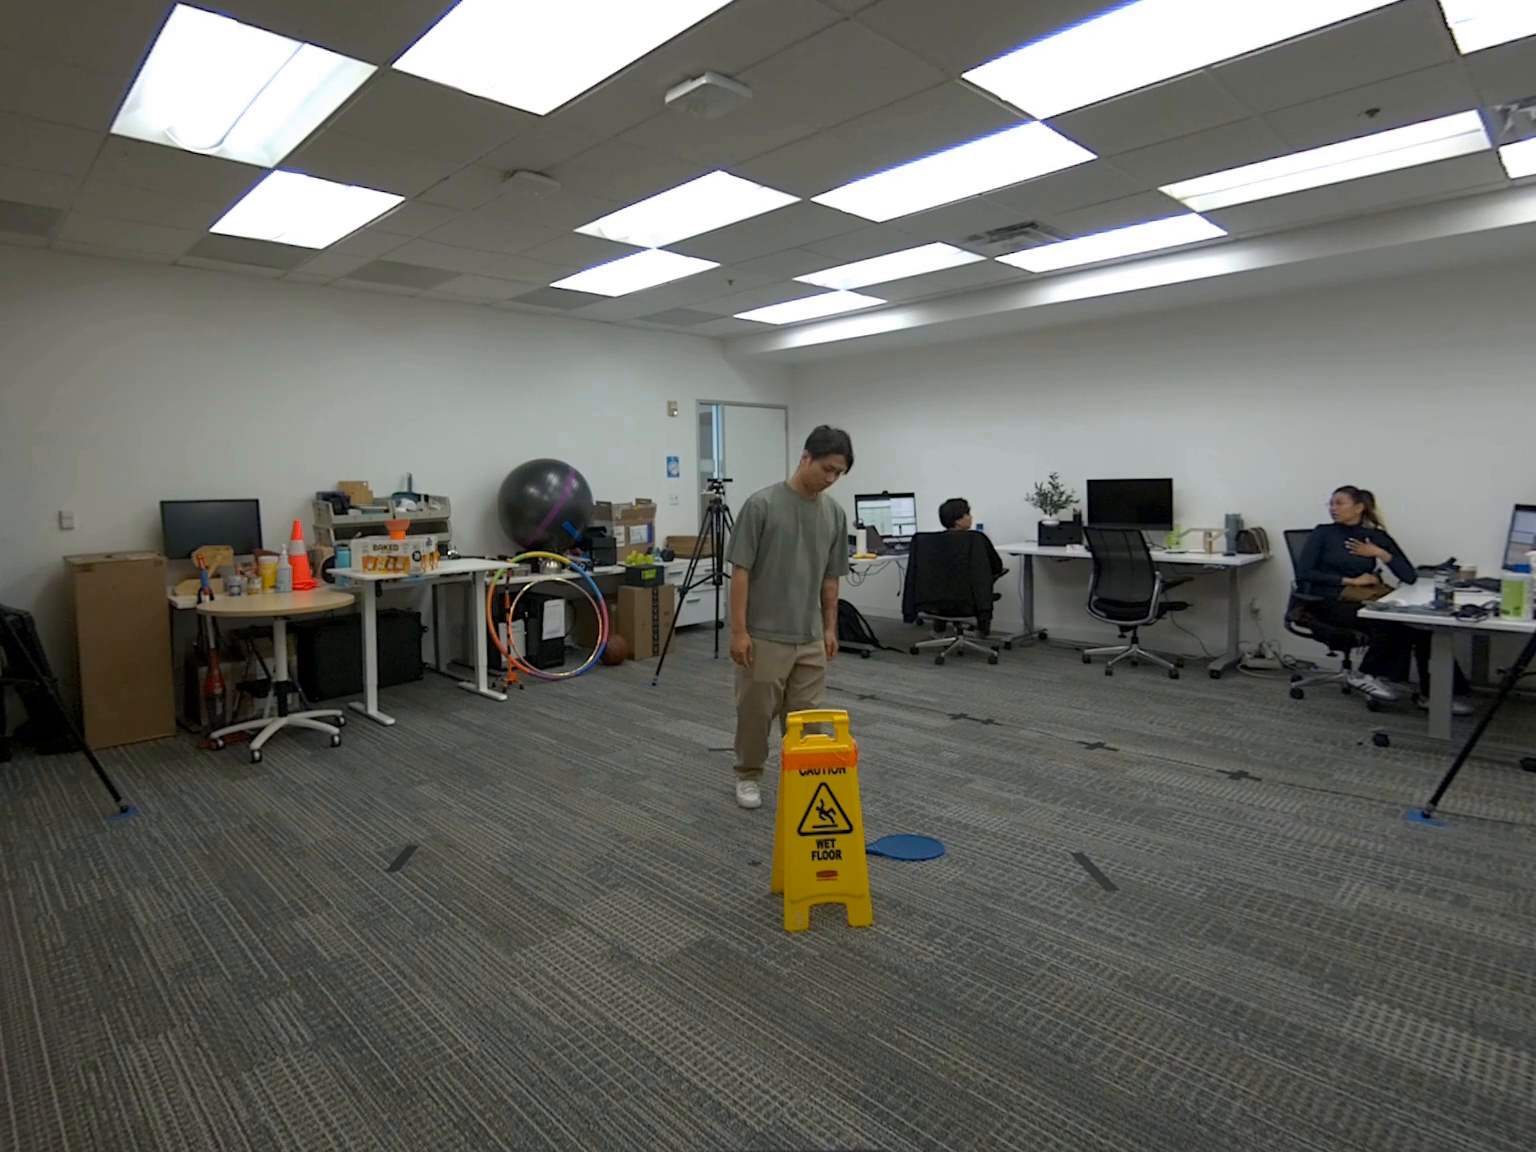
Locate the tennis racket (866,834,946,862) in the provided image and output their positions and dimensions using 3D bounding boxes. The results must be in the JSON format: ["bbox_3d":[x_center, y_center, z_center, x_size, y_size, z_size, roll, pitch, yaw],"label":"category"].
[{"bbox_3d":[0.445,1.009,3.190,0.430,0.031,0.216,0,6,-8],"label":"tennis racket"}]
